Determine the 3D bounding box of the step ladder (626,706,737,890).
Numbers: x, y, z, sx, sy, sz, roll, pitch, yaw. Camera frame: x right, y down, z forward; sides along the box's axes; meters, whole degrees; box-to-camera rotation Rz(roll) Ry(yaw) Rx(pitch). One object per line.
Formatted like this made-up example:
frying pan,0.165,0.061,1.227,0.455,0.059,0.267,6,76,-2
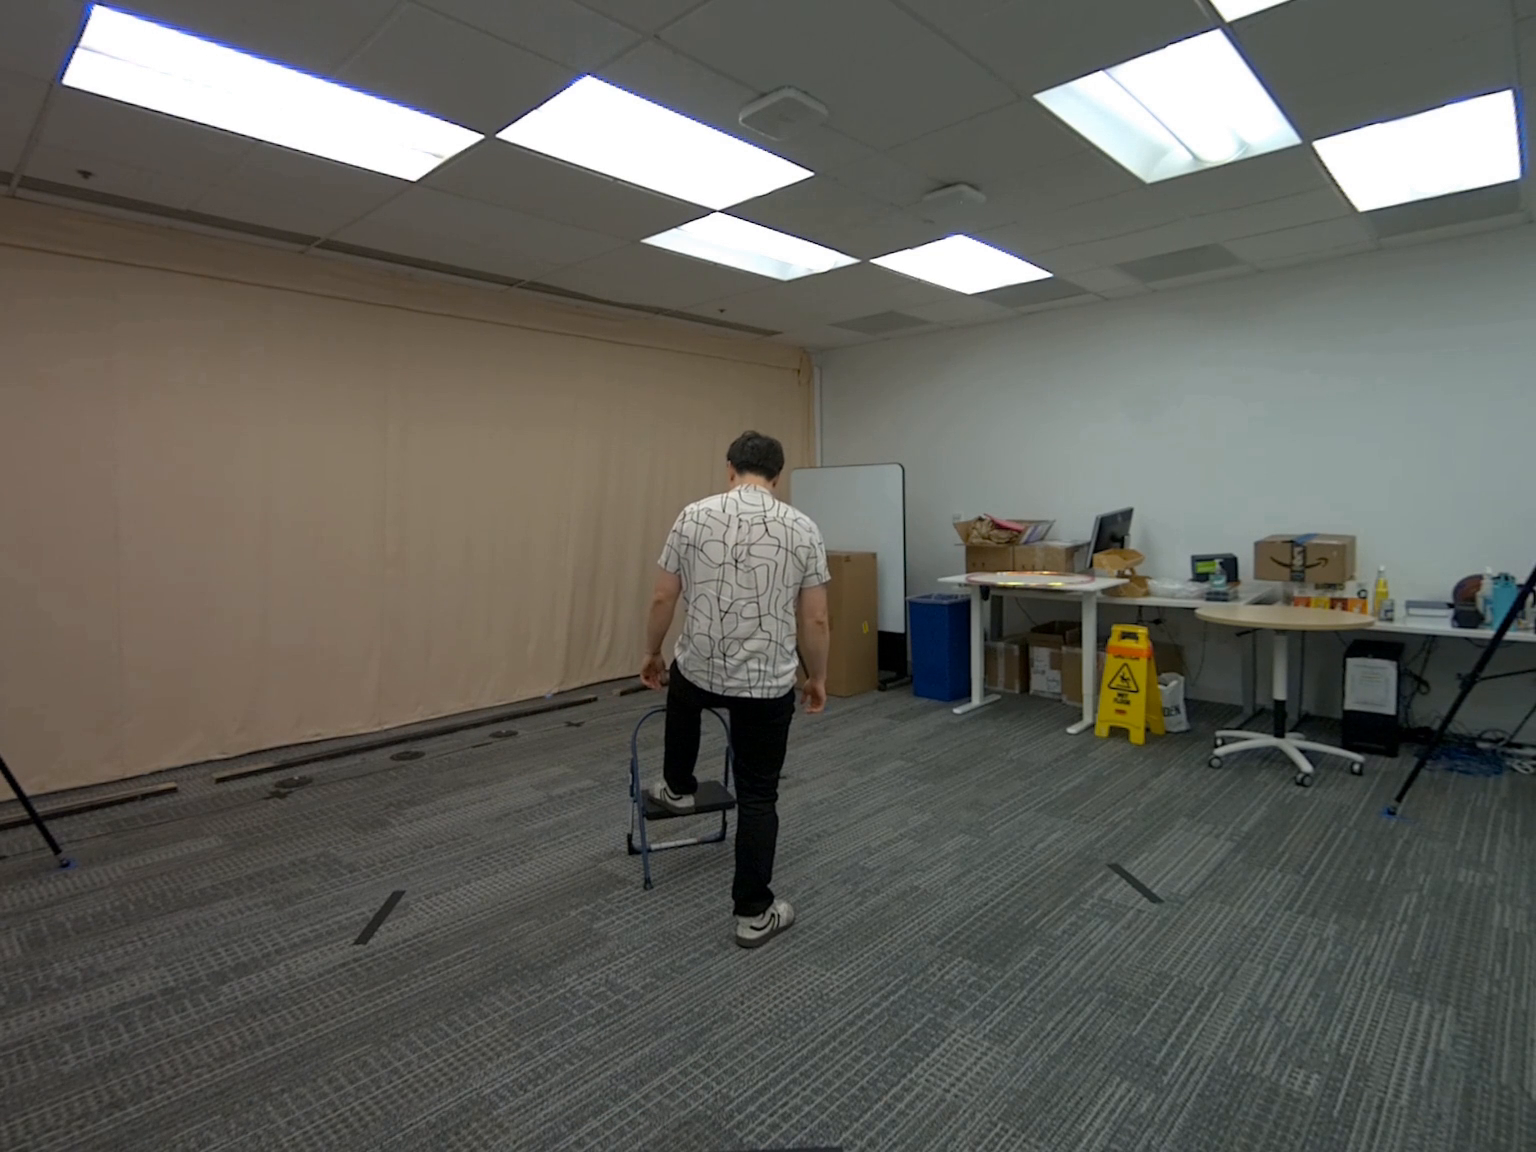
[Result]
step ladder,-0.318,0.817,3.277,0.422,0.605,0.357,-3,3,-20
